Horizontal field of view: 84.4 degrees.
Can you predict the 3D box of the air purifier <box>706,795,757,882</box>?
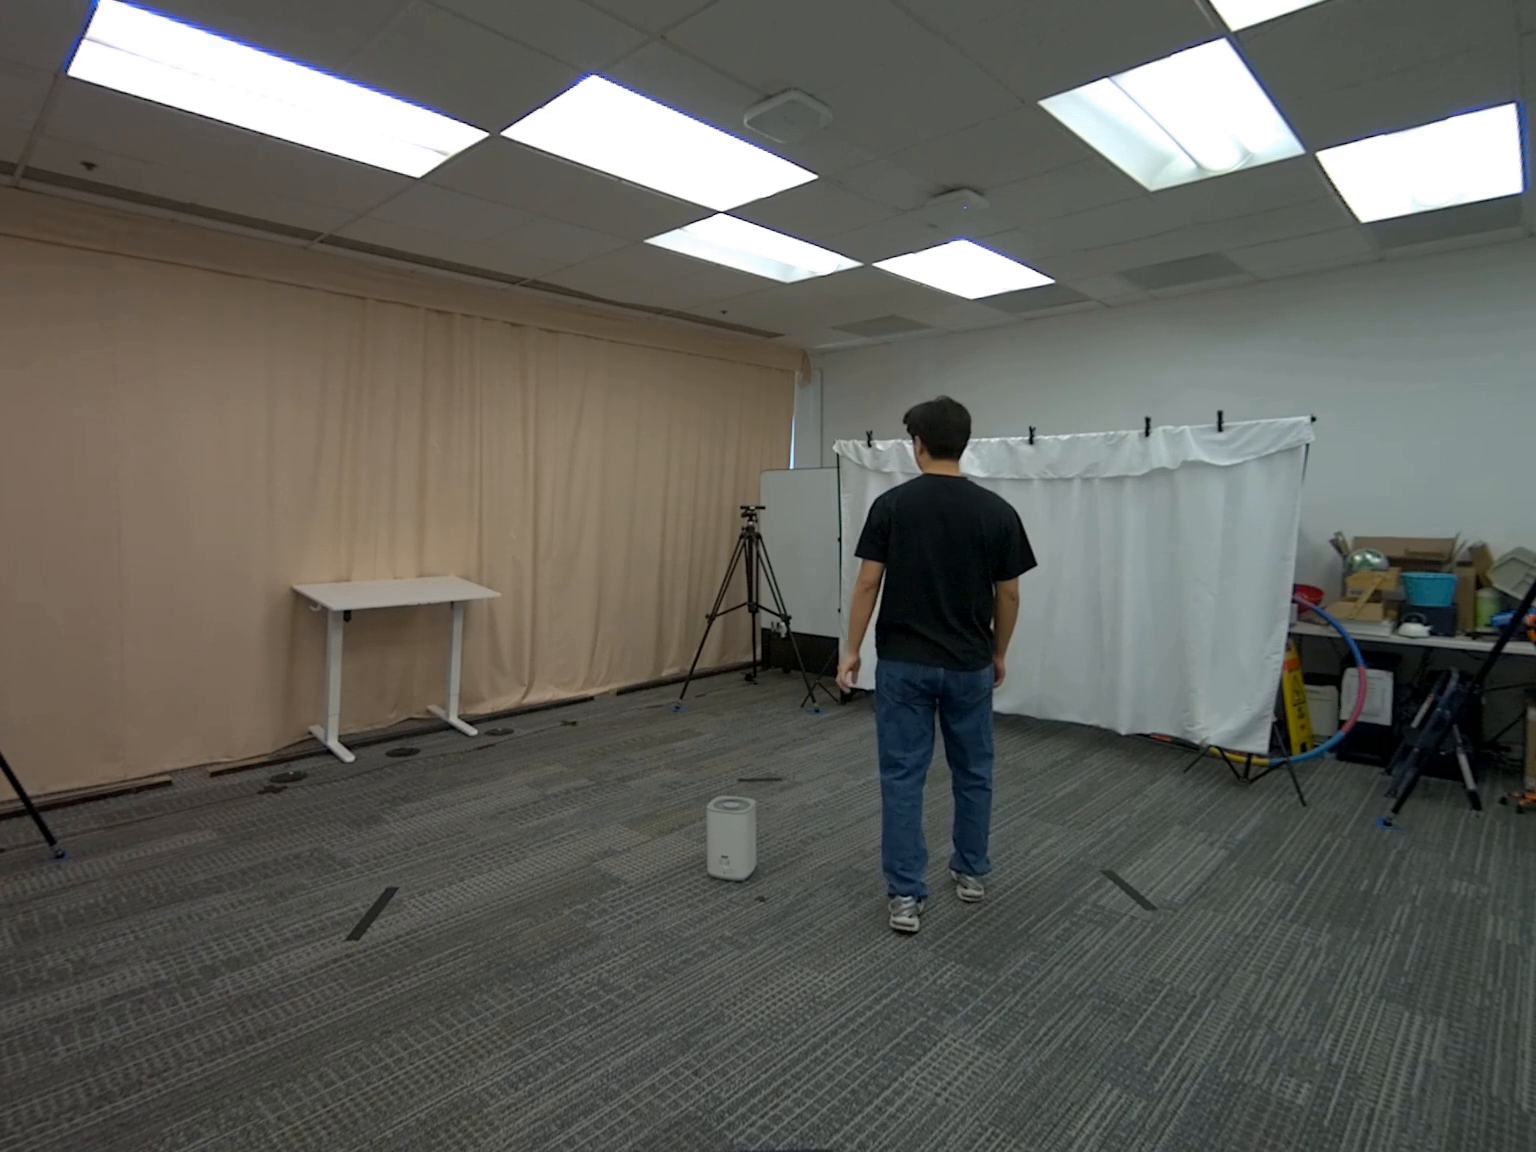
[{"bbox_3d":[-0.134,0.991,3.186,0.174,0.265,0.168,1,4,18],"label":"air purifier"}]
